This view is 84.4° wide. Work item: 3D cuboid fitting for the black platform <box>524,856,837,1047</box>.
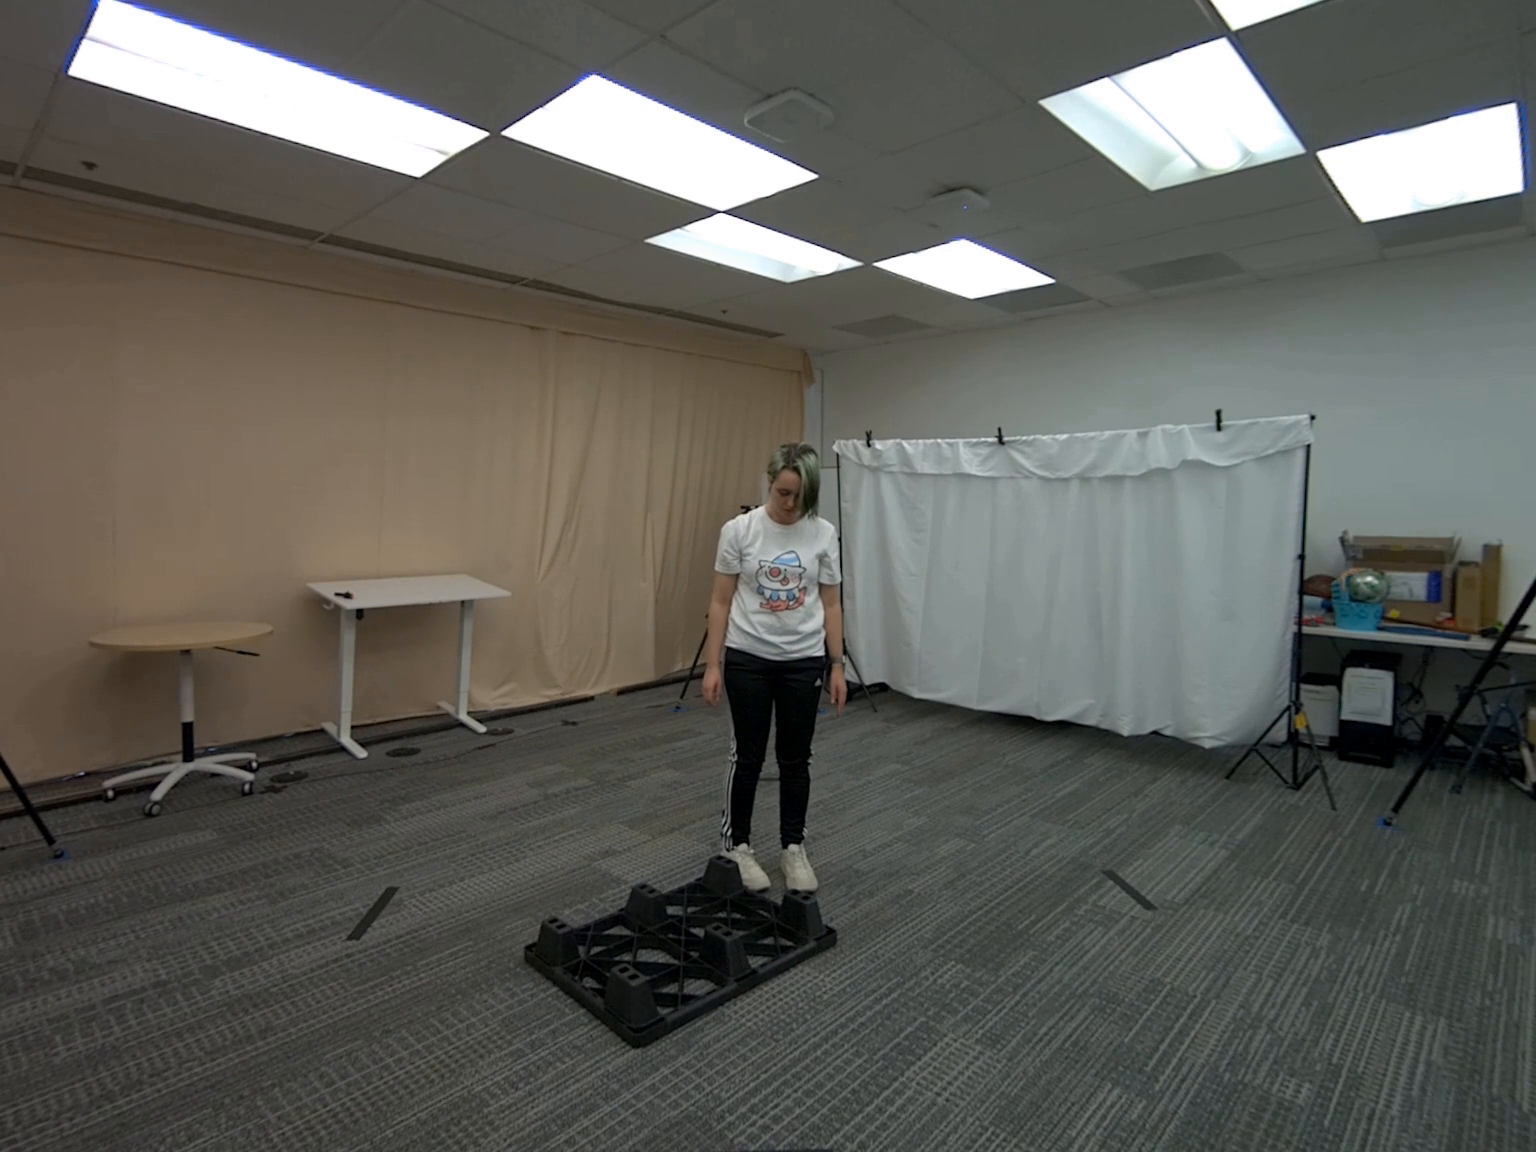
[{"bbox_3d":[-0.262,1.110,2.639,0.781,0.143,0.625,-4,7,-43],"label":"black platform"}]
